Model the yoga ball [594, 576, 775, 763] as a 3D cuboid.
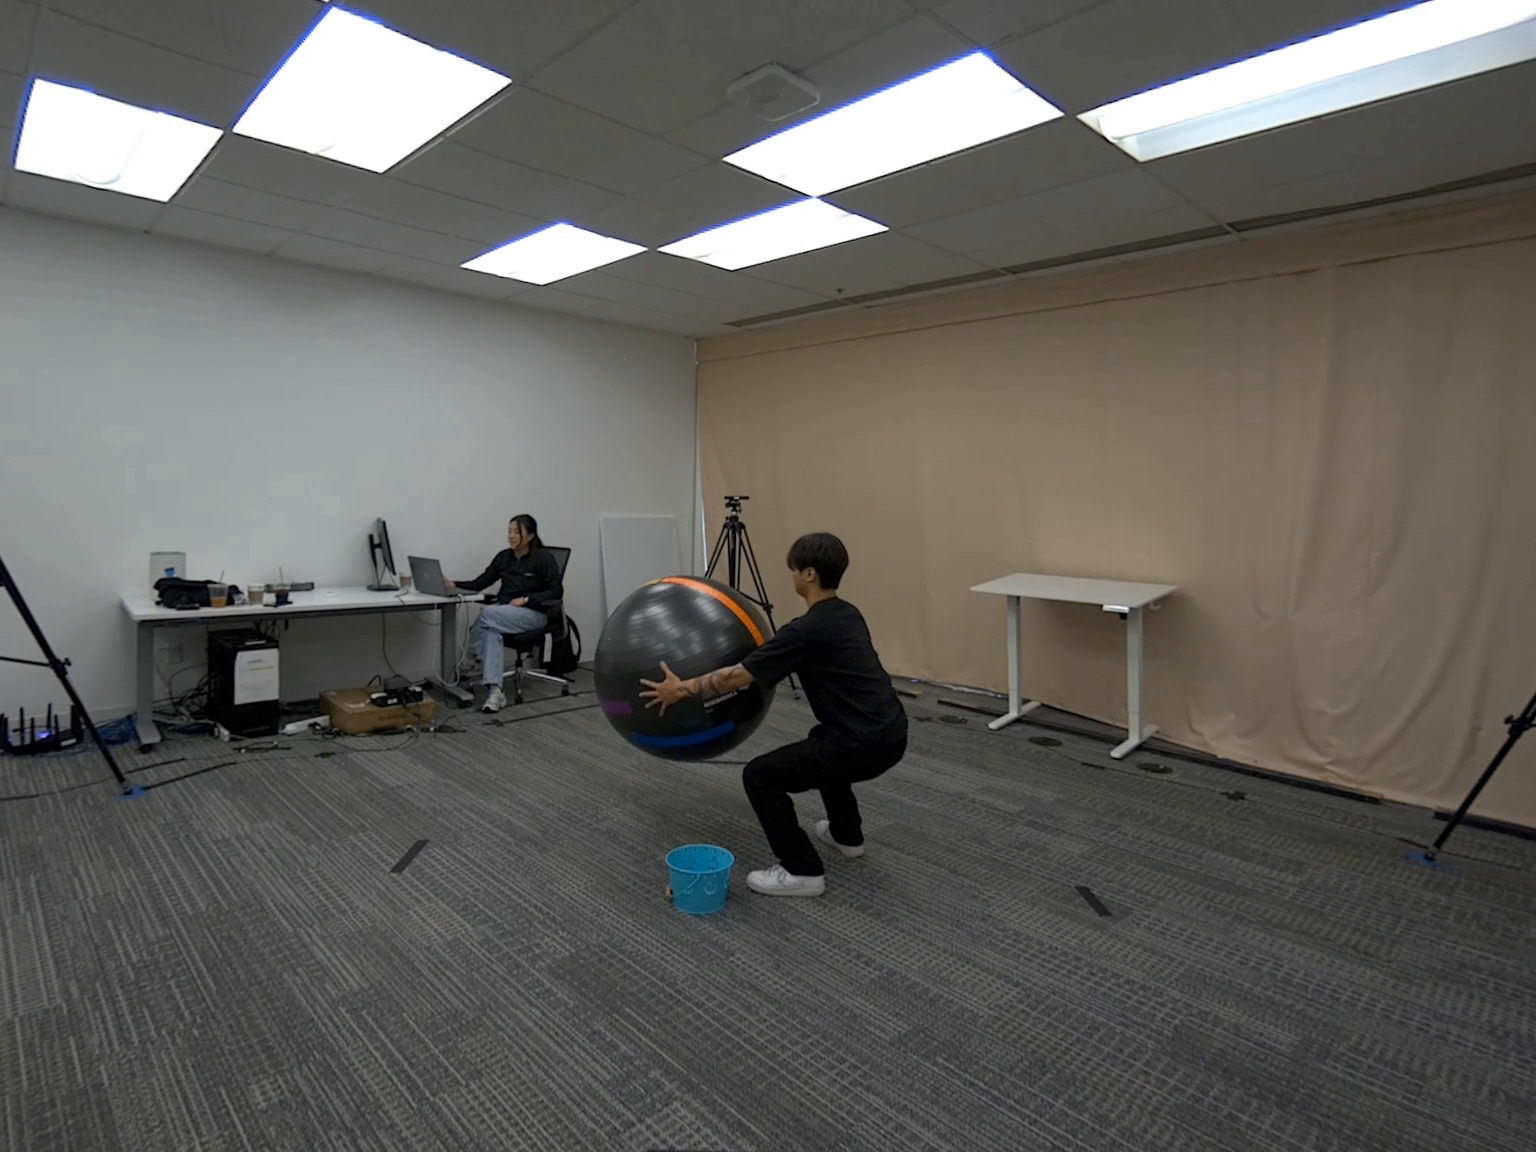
[{"bbox_3d":[-0.358,0.385,3.508,0.757,0.756,0.761,1,4,-1],"label":"yoga ball"}]
